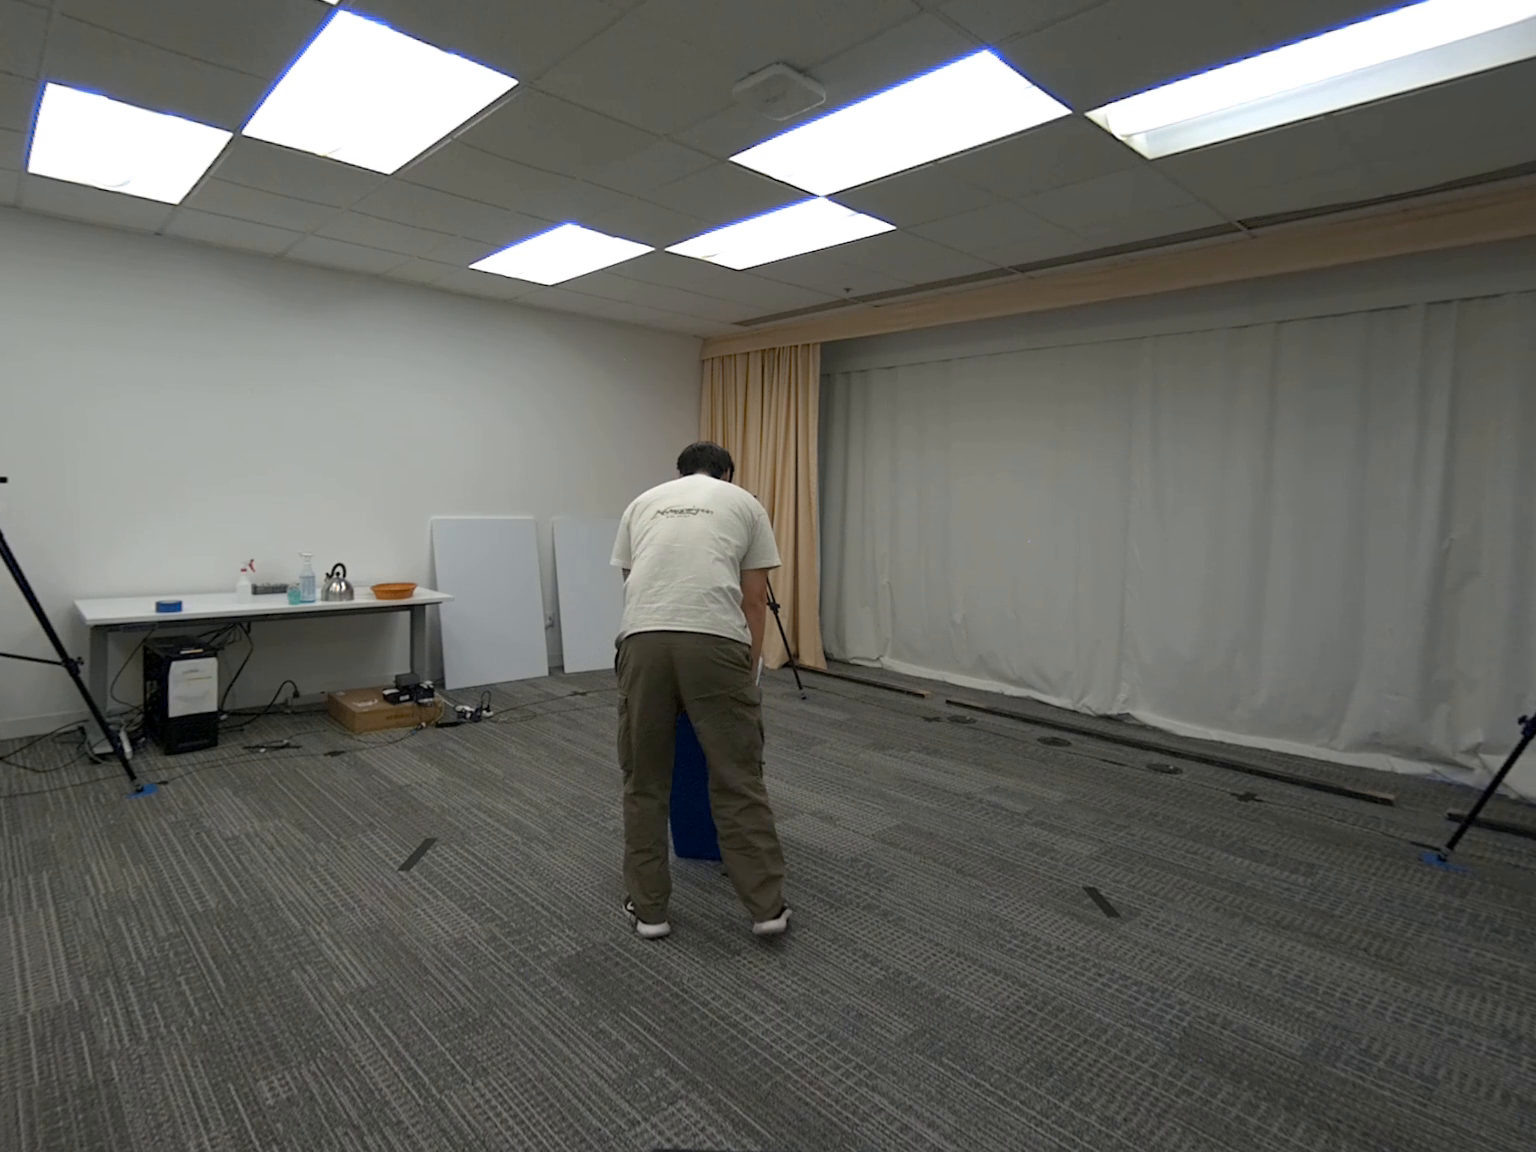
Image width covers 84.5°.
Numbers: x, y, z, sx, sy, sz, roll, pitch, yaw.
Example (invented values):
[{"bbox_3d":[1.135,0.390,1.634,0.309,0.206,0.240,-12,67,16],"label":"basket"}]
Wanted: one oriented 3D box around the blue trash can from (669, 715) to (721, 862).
[{"bbox_3d":[-0.205,0.707,3.216,0.381,0.702,0.377,0,23,8],"label":"blue trash can"}]
